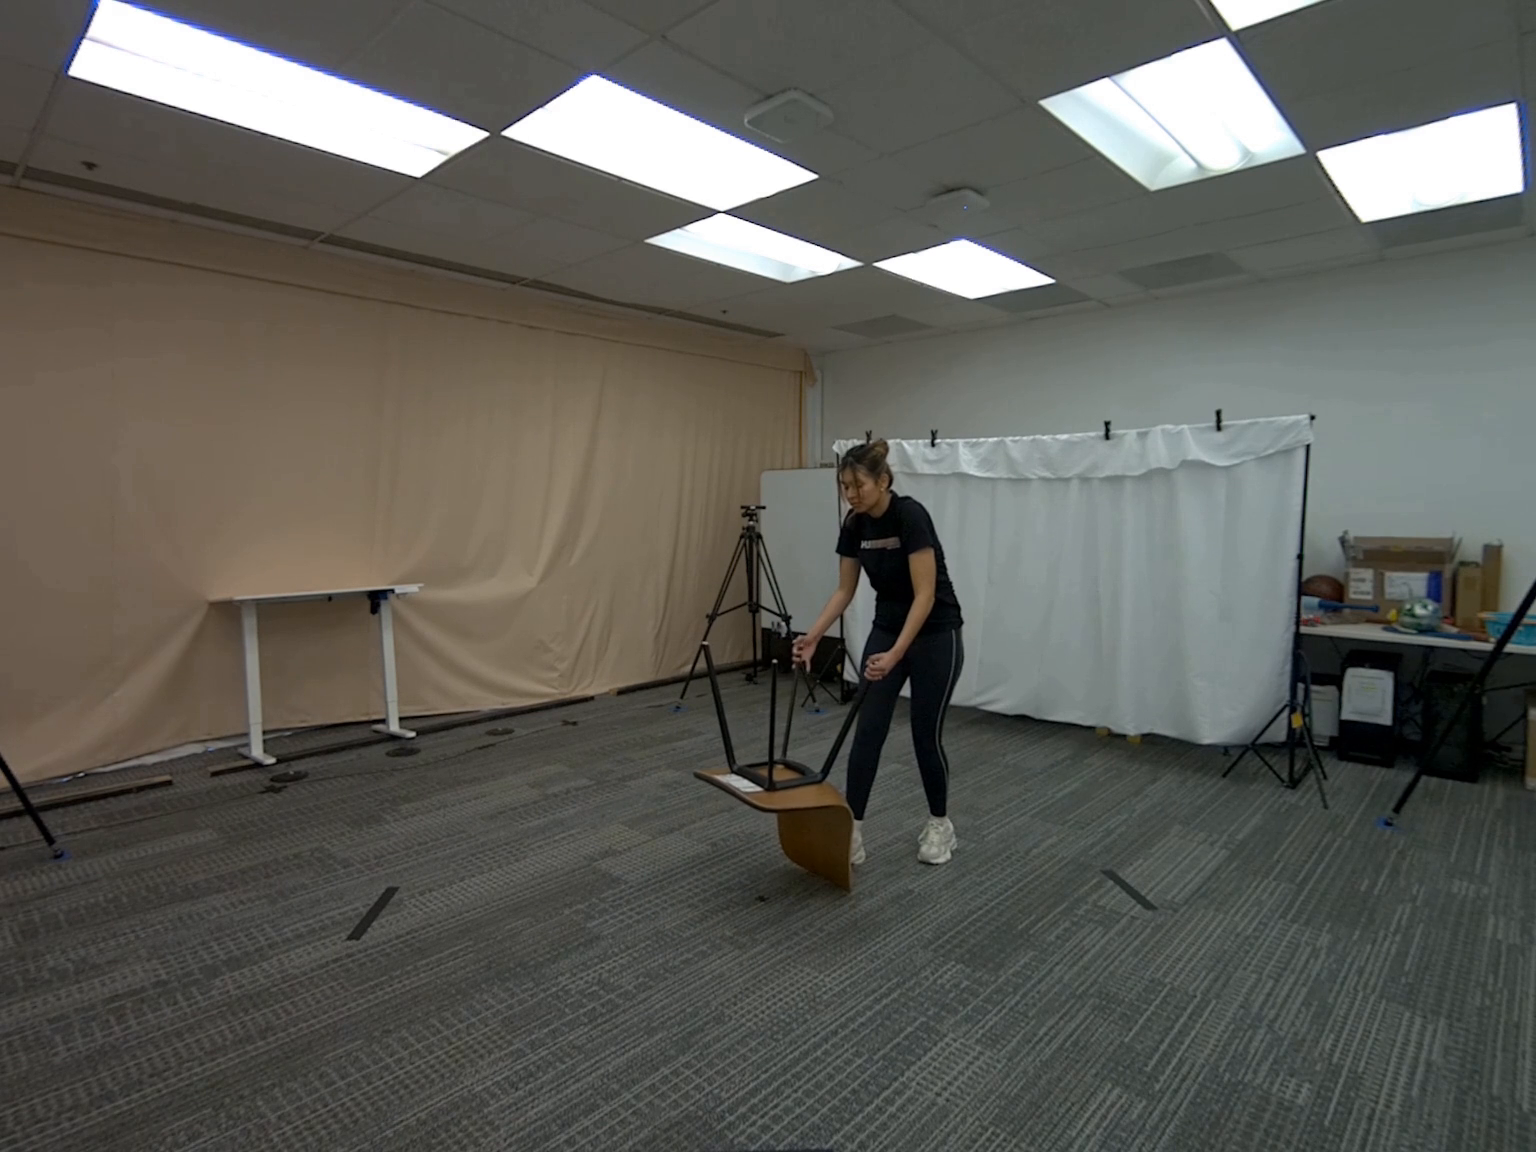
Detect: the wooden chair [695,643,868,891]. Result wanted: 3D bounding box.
[{"bbox_3d":[0.032,0.702,2.984,0.508,0.876,0.493,0,3,-34],"label":"wooden chair"}]
